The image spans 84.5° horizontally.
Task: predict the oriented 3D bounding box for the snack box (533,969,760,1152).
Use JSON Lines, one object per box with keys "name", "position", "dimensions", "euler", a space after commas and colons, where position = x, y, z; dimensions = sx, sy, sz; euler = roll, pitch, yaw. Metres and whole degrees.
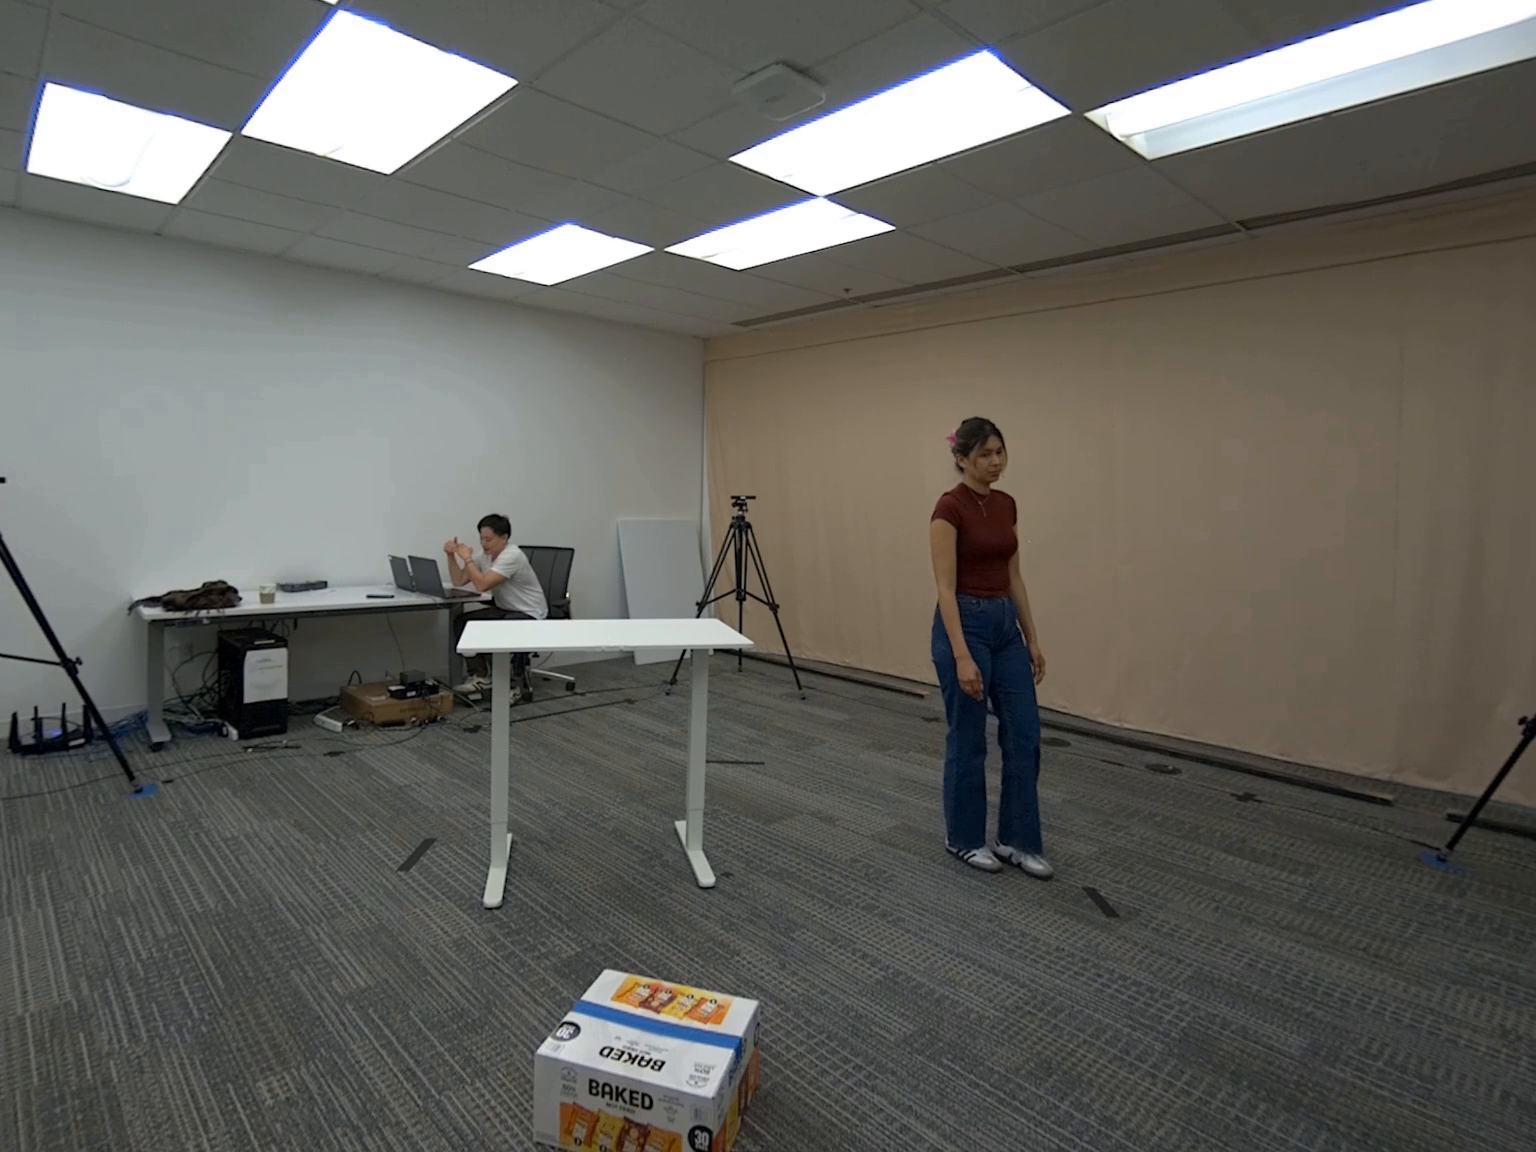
{"name": "snack box", "position": [-0.265, 1.115, 1.884], "dimensions": [0.411, 0.205, 0.336], "euler": [3, 5, 17]}
